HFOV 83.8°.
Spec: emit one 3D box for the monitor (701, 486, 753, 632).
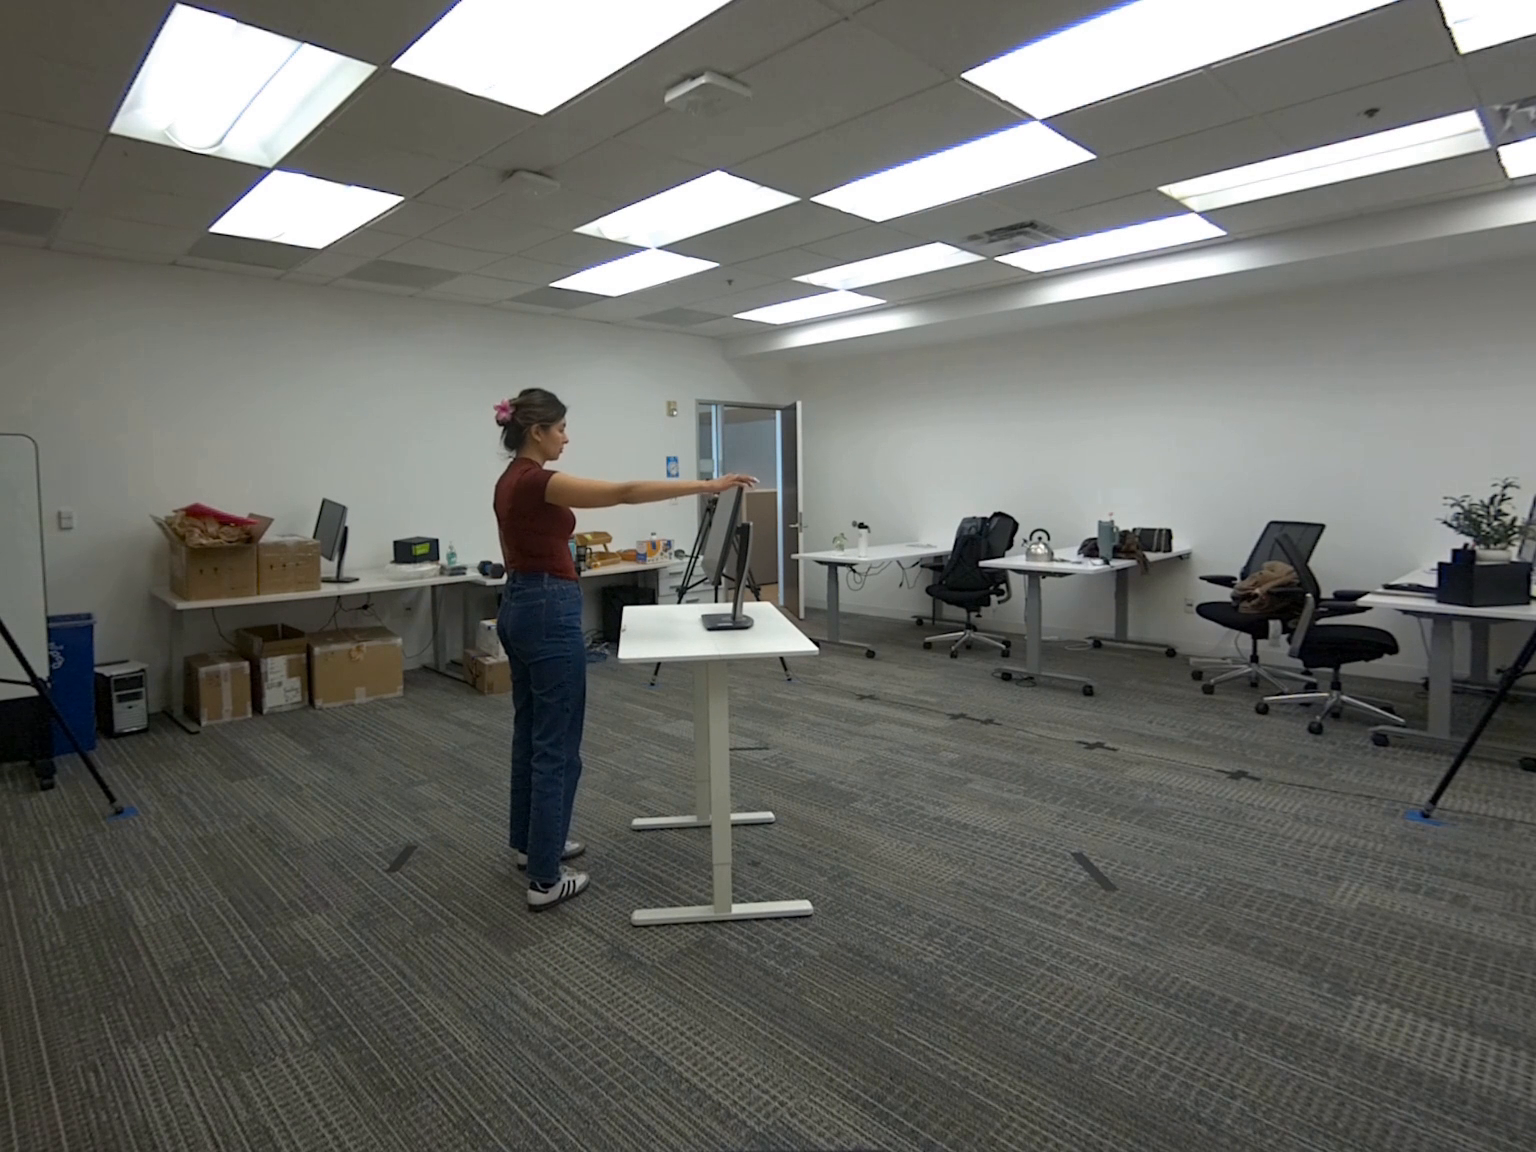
[{"bbox_3d":[-0.138,-0.083,3.043,0.185,0.520,0.547,0,6,-10],"label":"monitor"}]
